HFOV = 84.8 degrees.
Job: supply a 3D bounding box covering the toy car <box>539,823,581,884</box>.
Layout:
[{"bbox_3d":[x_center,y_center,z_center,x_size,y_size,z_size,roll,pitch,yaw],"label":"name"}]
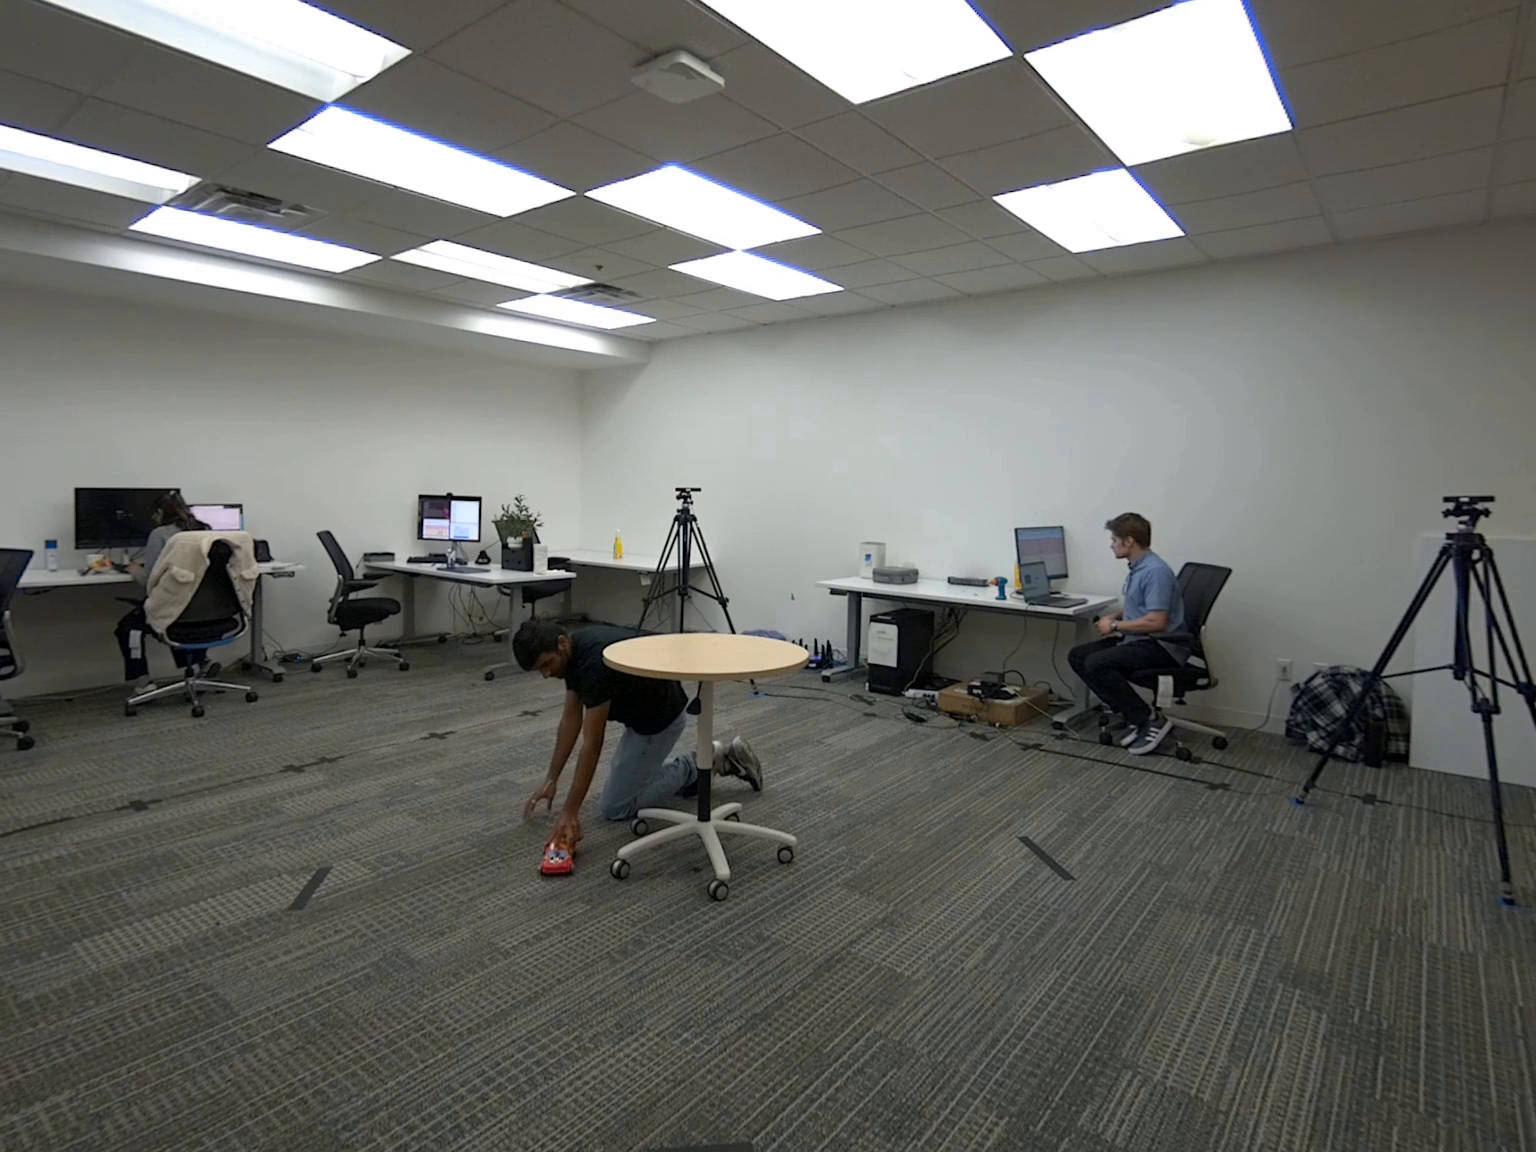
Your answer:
[{"bbox_3d":[-0.773,1.025,3.130,0.129,0.082,0.260,-1,15,-9],"label":"toy car"}]
